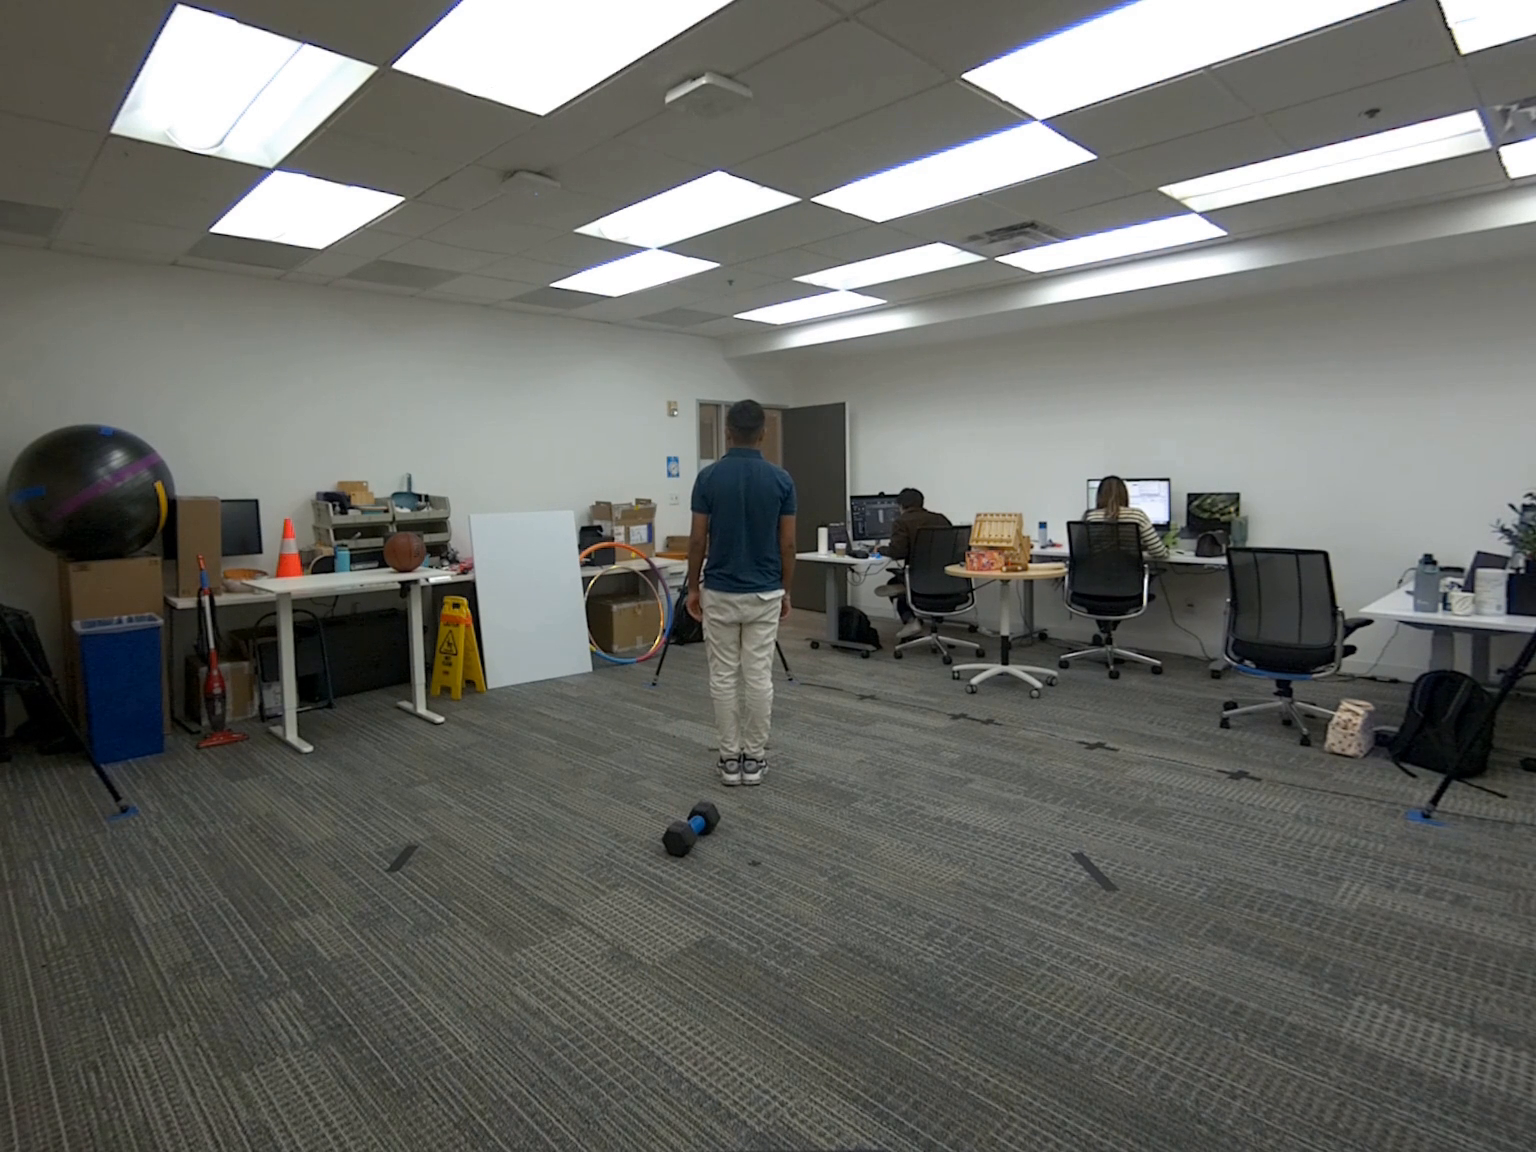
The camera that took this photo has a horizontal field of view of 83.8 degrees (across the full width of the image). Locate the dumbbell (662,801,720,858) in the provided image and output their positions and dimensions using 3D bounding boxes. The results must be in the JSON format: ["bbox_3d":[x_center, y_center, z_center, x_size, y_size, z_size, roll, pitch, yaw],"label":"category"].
[{"bbox_3d":[-0.303,0.973,3.293,0.109,0.124,0.289,-30,-6,23],"label":"dumbbell"}]
